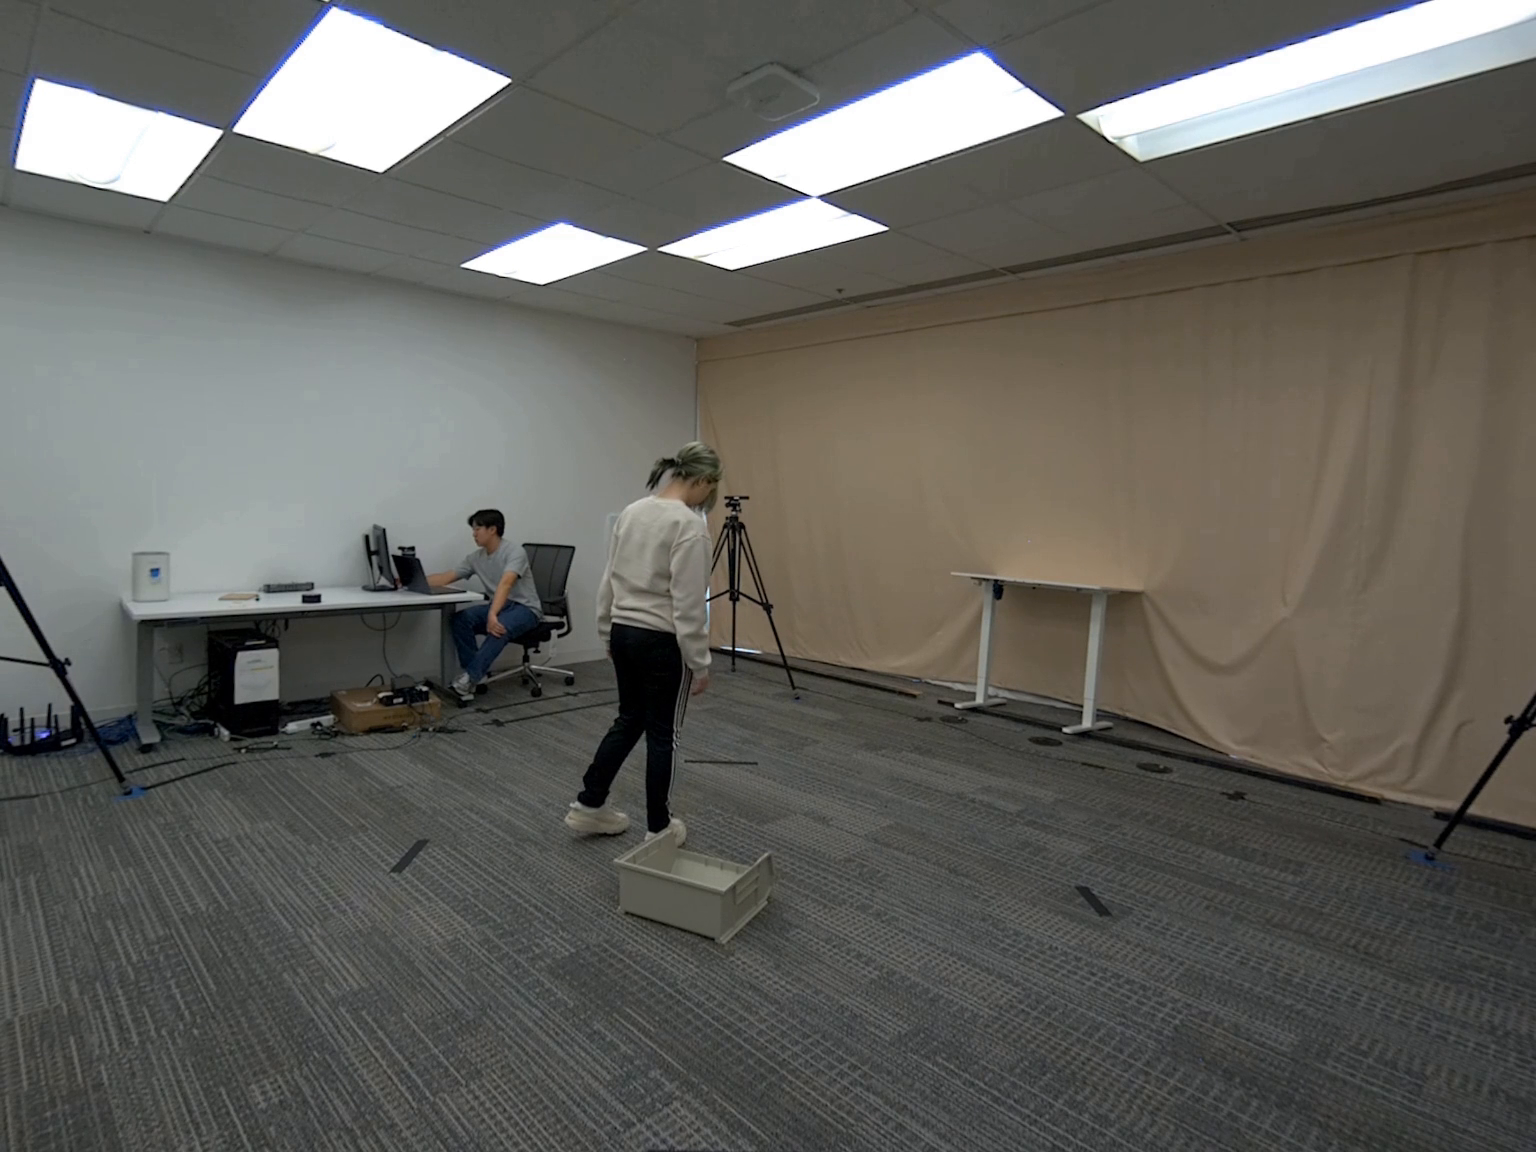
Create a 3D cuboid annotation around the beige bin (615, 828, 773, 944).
[{"bbox_3d":[-0.249,1.036,2.861,0.431,0.188,0.371,4,6,27],"label":"beige bin"}]
